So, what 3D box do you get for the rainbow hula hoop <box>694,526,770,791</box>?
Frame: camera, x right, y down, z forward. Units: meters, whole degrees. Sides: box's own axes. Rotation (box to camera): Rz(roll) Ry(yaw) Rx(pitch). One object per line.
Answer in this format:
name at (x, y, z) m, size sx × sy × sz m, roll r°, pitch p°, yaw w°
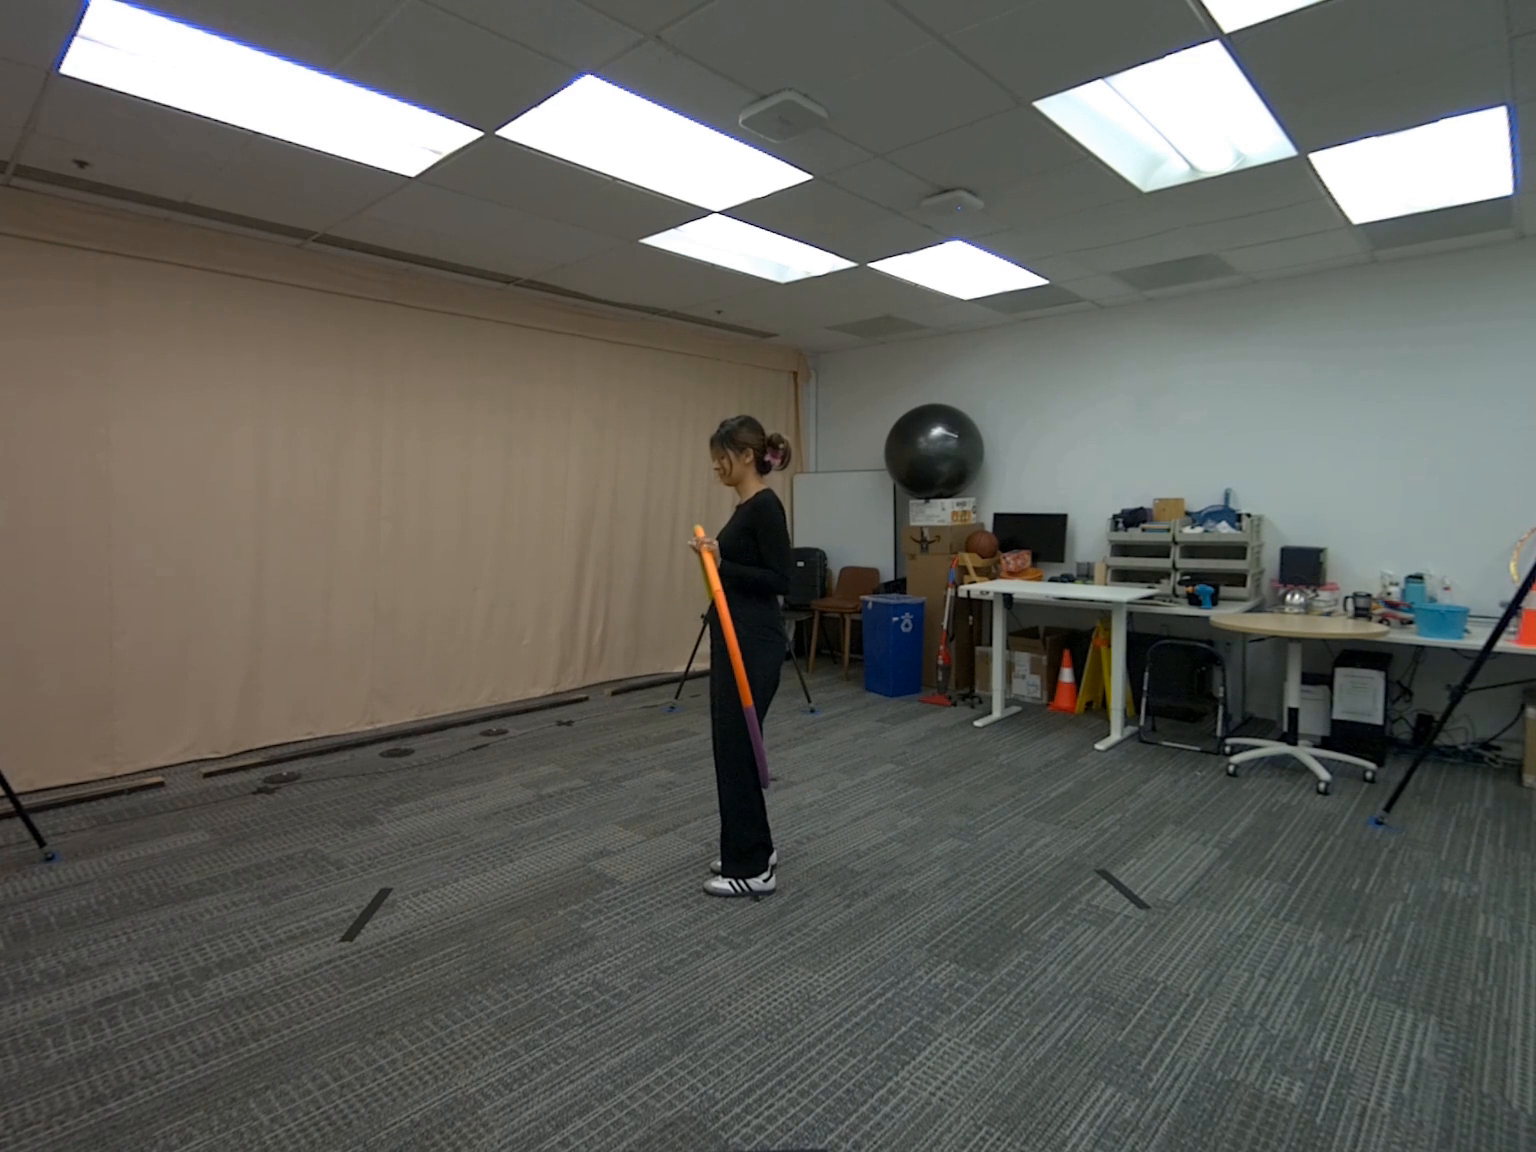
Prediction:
rainbow hula hoop at (-0.139, 0.296, 3.107) m, size 0.035 × 0.975 × 0.986 m, roll -15°, pitch 5°, yaw -5°
